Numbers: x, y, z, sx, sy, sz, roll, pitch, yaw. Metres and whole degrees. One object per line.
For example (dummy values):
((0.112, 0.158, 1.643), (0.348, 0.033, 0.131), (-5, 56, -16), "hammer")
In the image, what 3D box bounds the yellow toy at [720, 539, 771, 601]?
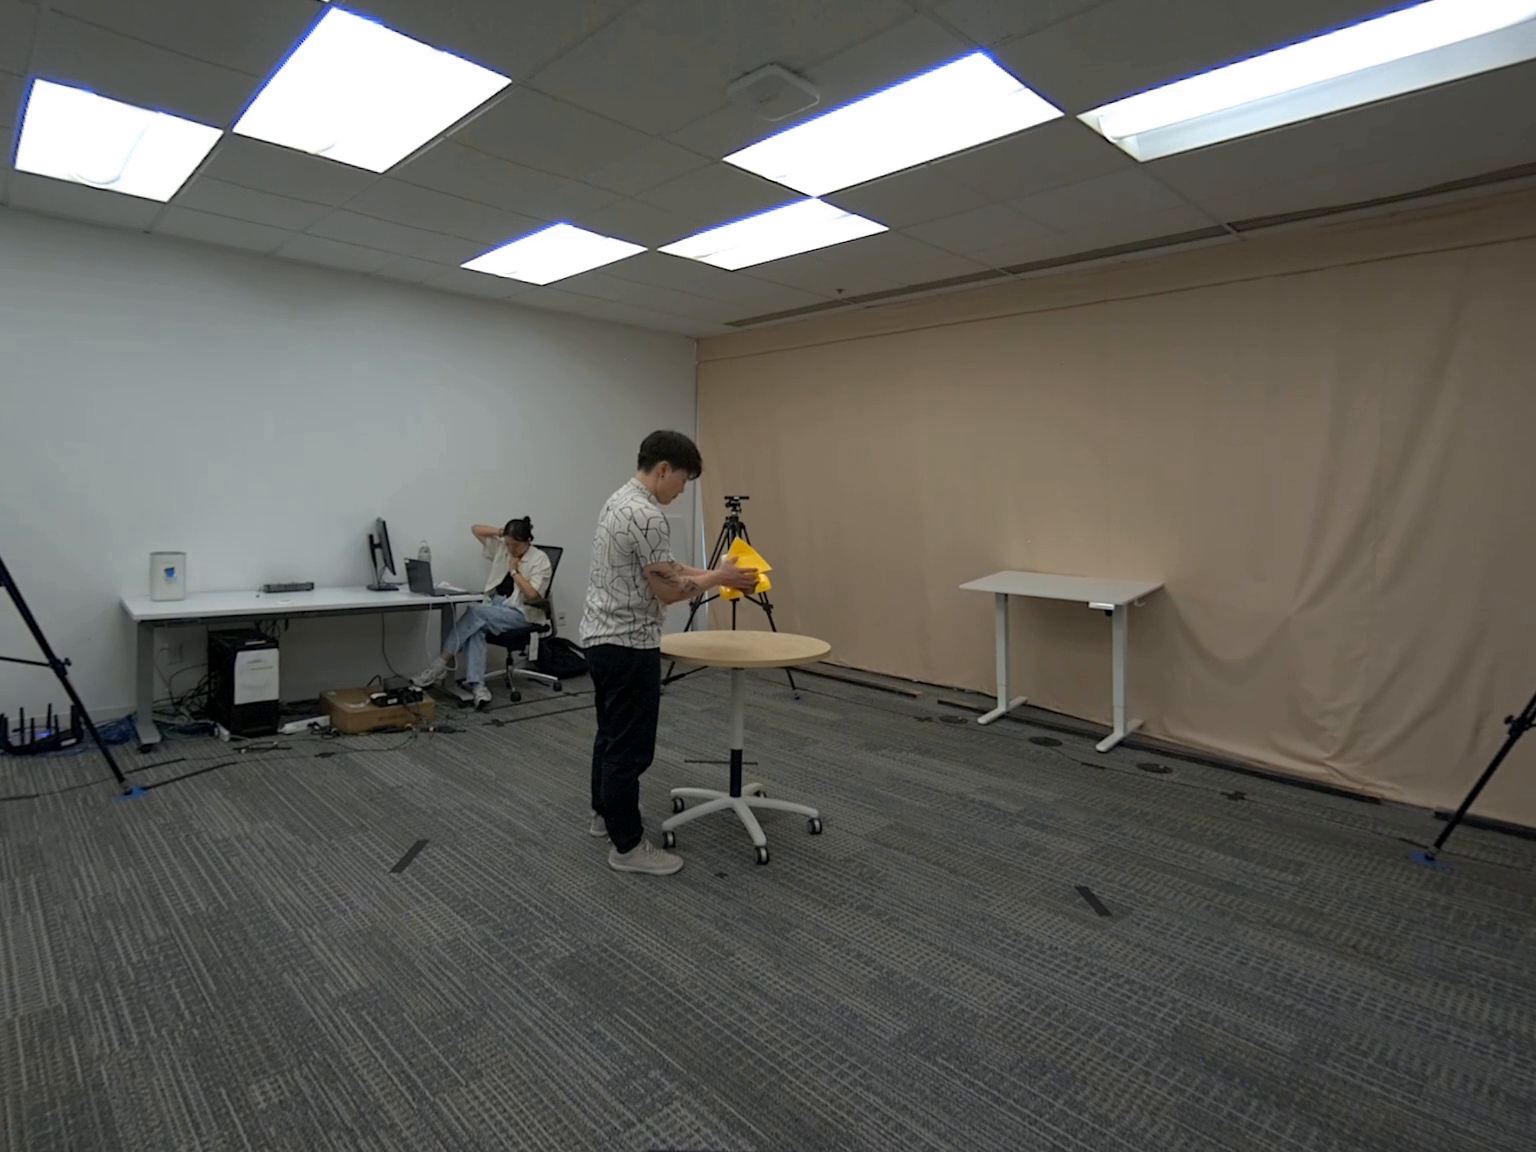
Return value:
((-0.121, -0.046, 3.304), (0.203, 0.229, 0.195), (-14, 8, -12), "yellow toy")
